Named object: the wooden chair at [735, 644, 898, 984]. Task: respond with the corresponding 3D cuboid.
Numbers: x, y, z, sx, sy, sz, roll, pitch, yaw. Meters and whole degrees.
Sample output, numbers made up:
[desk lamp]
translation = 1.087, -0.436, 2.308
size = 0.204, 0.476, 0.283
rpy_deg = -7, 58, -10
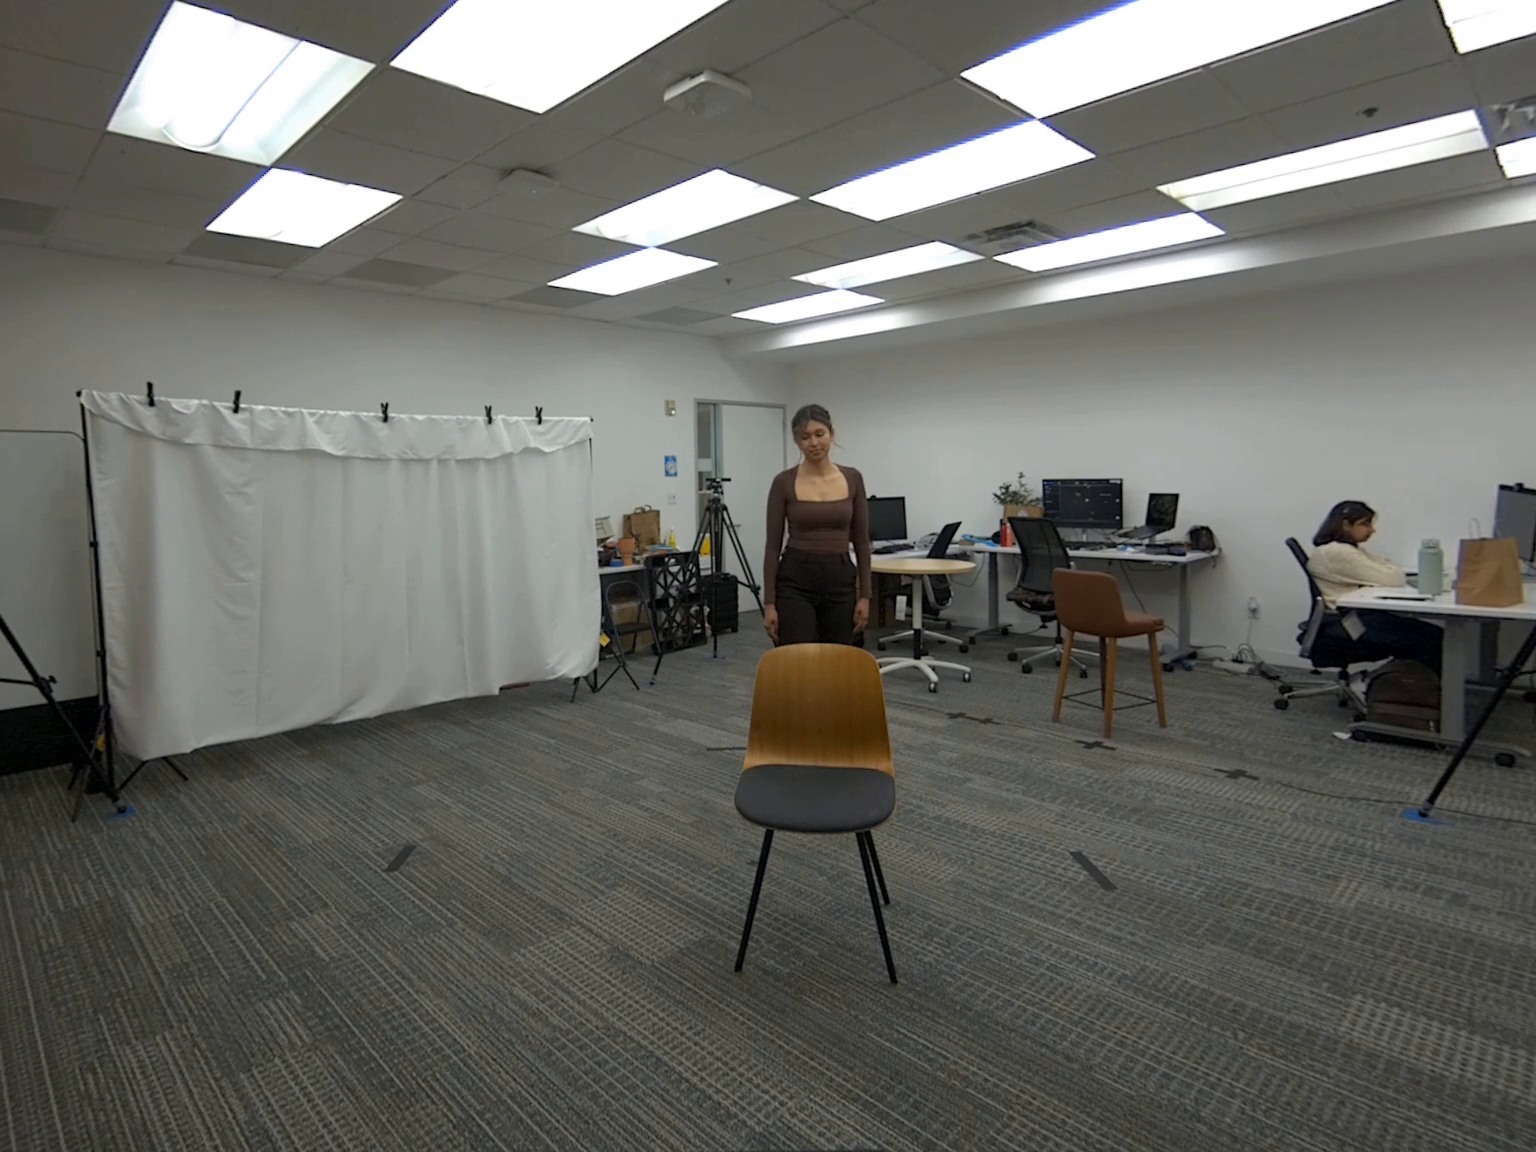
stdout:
[wooden chair]
translation = 0.145, 0.672, 2.566
size = 0.482, 0.878, 0.519
rpy_deg = 0, 0, 7
